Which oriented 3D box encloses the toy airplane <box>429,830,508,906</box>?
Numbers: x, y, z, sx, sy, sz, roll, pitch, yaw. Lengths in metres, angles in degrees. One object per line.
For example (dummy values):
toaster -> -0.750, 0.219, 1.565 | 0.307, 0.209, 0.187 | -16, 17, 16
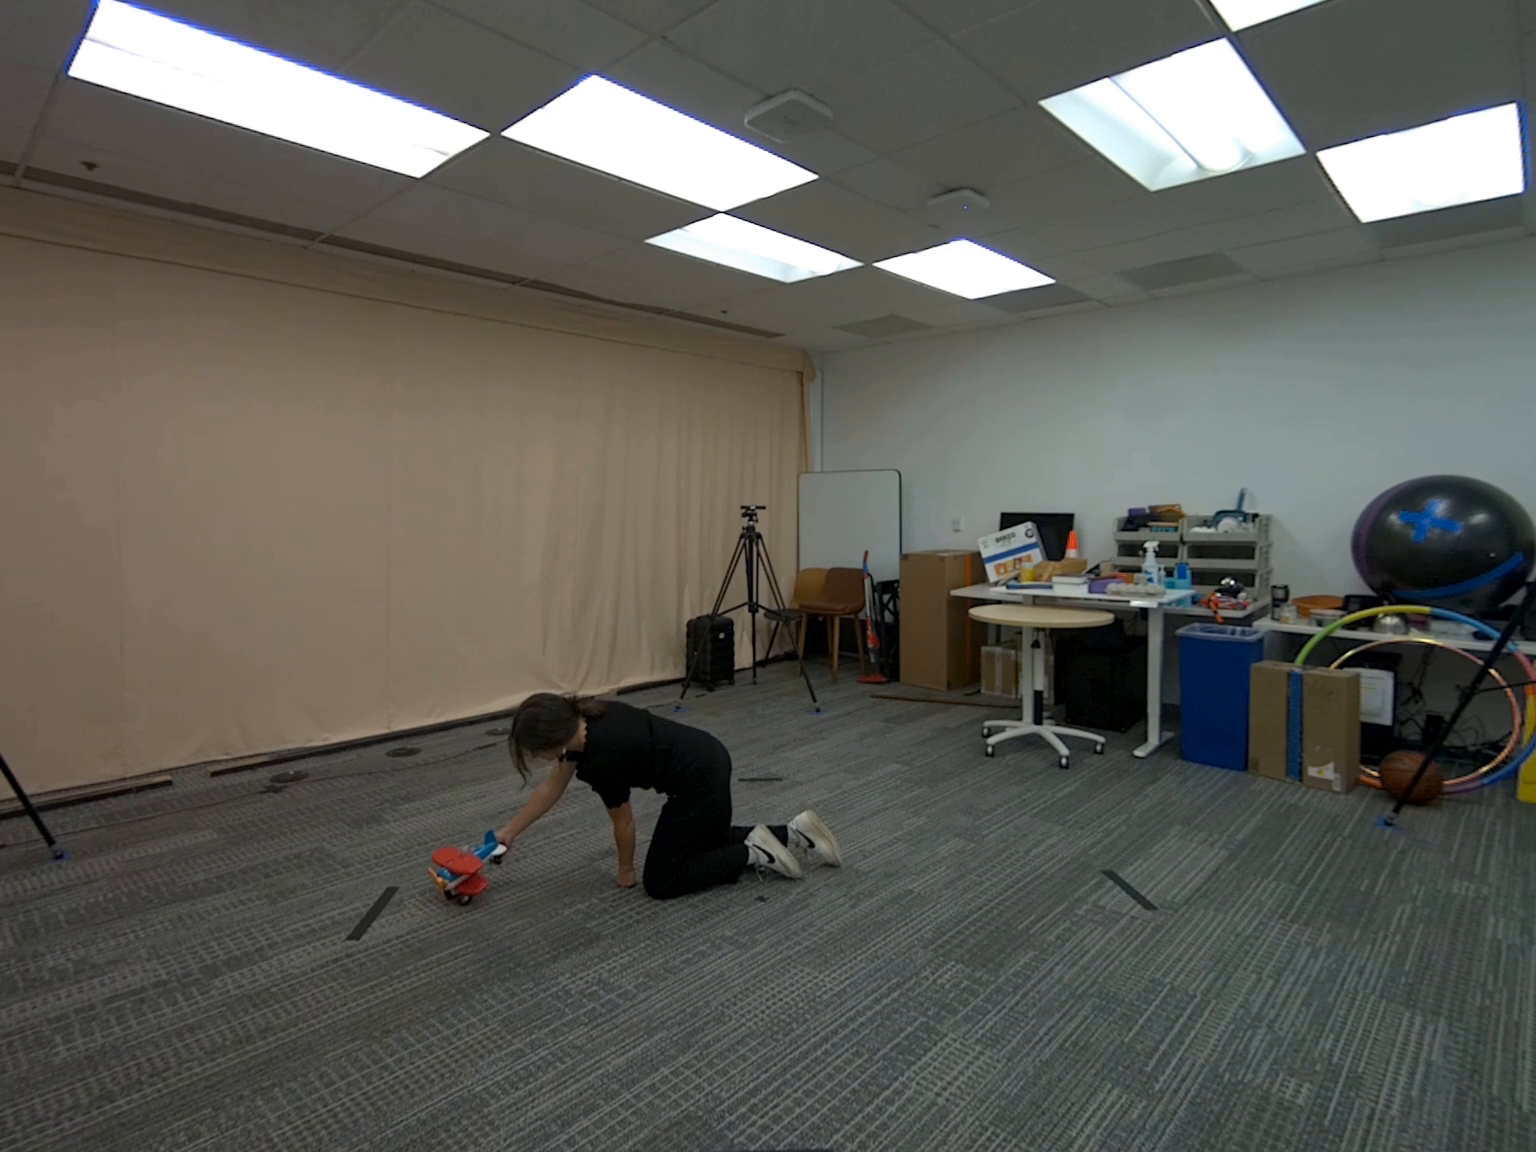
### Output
toy airplane -> -1.093, 1.052, 3.029 | 0.254, 0.153, 0.262 | -13, 27, 13
